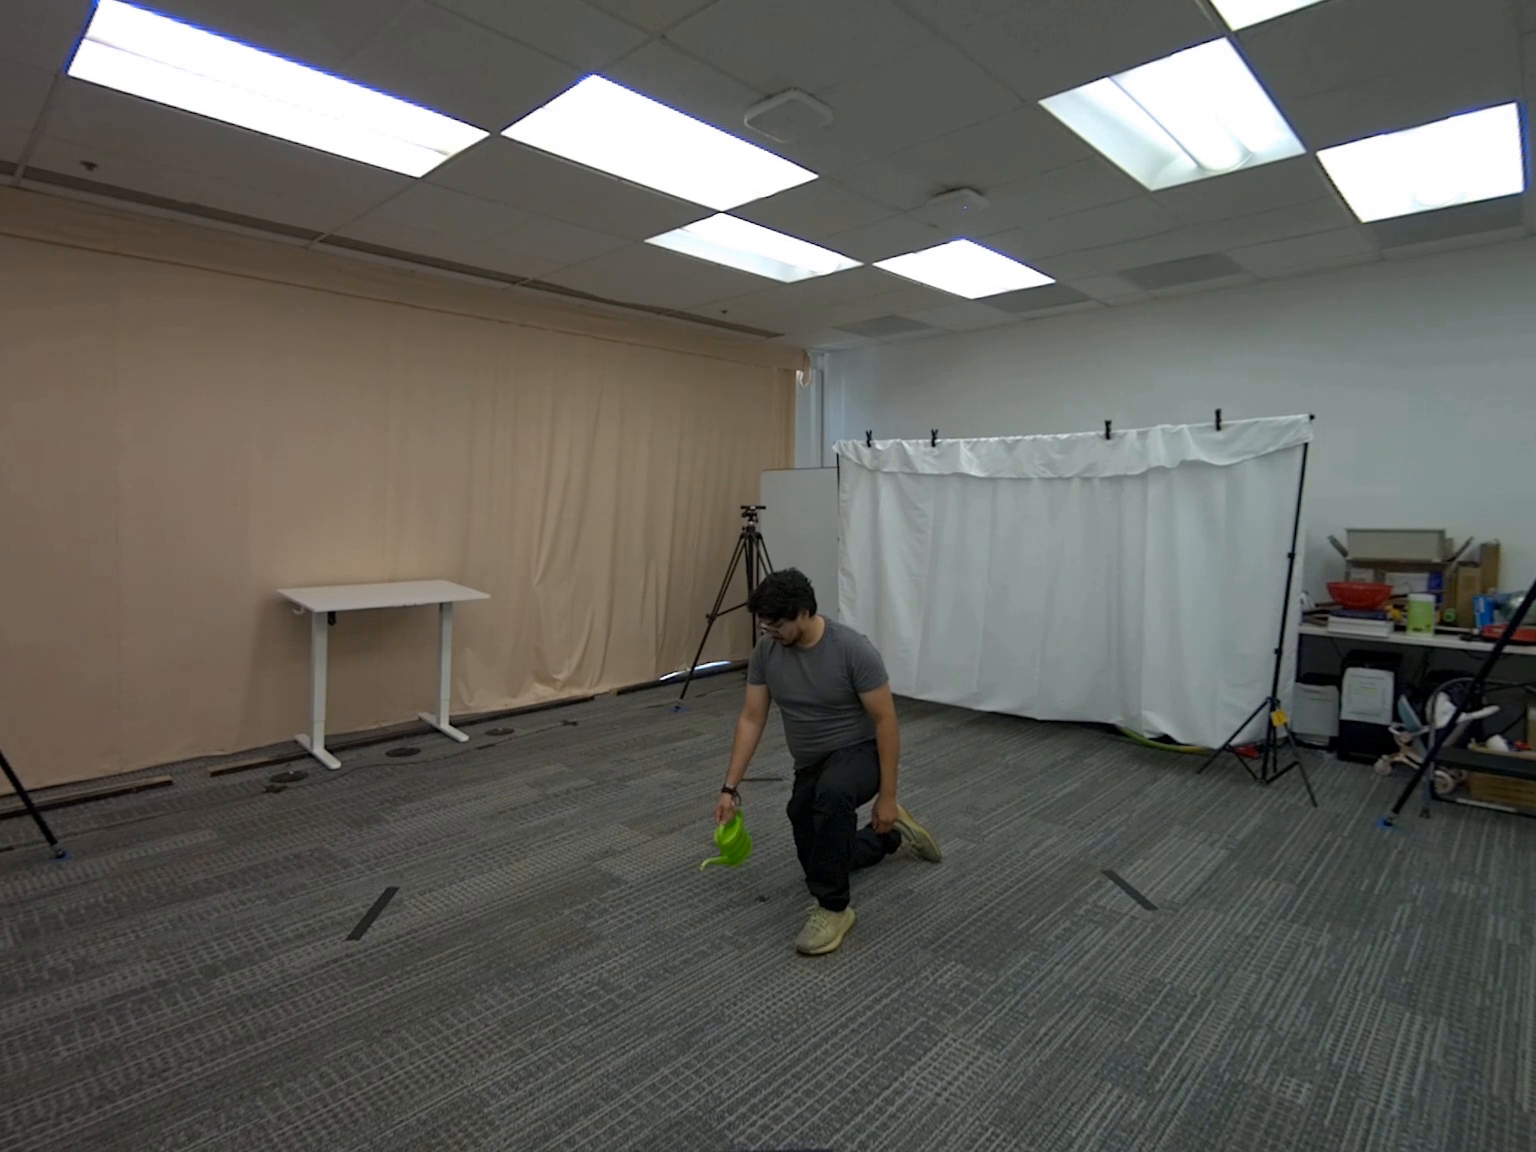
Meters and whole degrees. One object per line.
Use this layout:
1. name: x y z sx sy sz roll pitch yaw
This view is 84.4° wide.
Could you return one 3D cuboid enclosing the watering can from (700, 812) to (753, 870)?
1. watering can: -0.152 0.969 2.985 0.101 0.172 0.276 10 46 41
